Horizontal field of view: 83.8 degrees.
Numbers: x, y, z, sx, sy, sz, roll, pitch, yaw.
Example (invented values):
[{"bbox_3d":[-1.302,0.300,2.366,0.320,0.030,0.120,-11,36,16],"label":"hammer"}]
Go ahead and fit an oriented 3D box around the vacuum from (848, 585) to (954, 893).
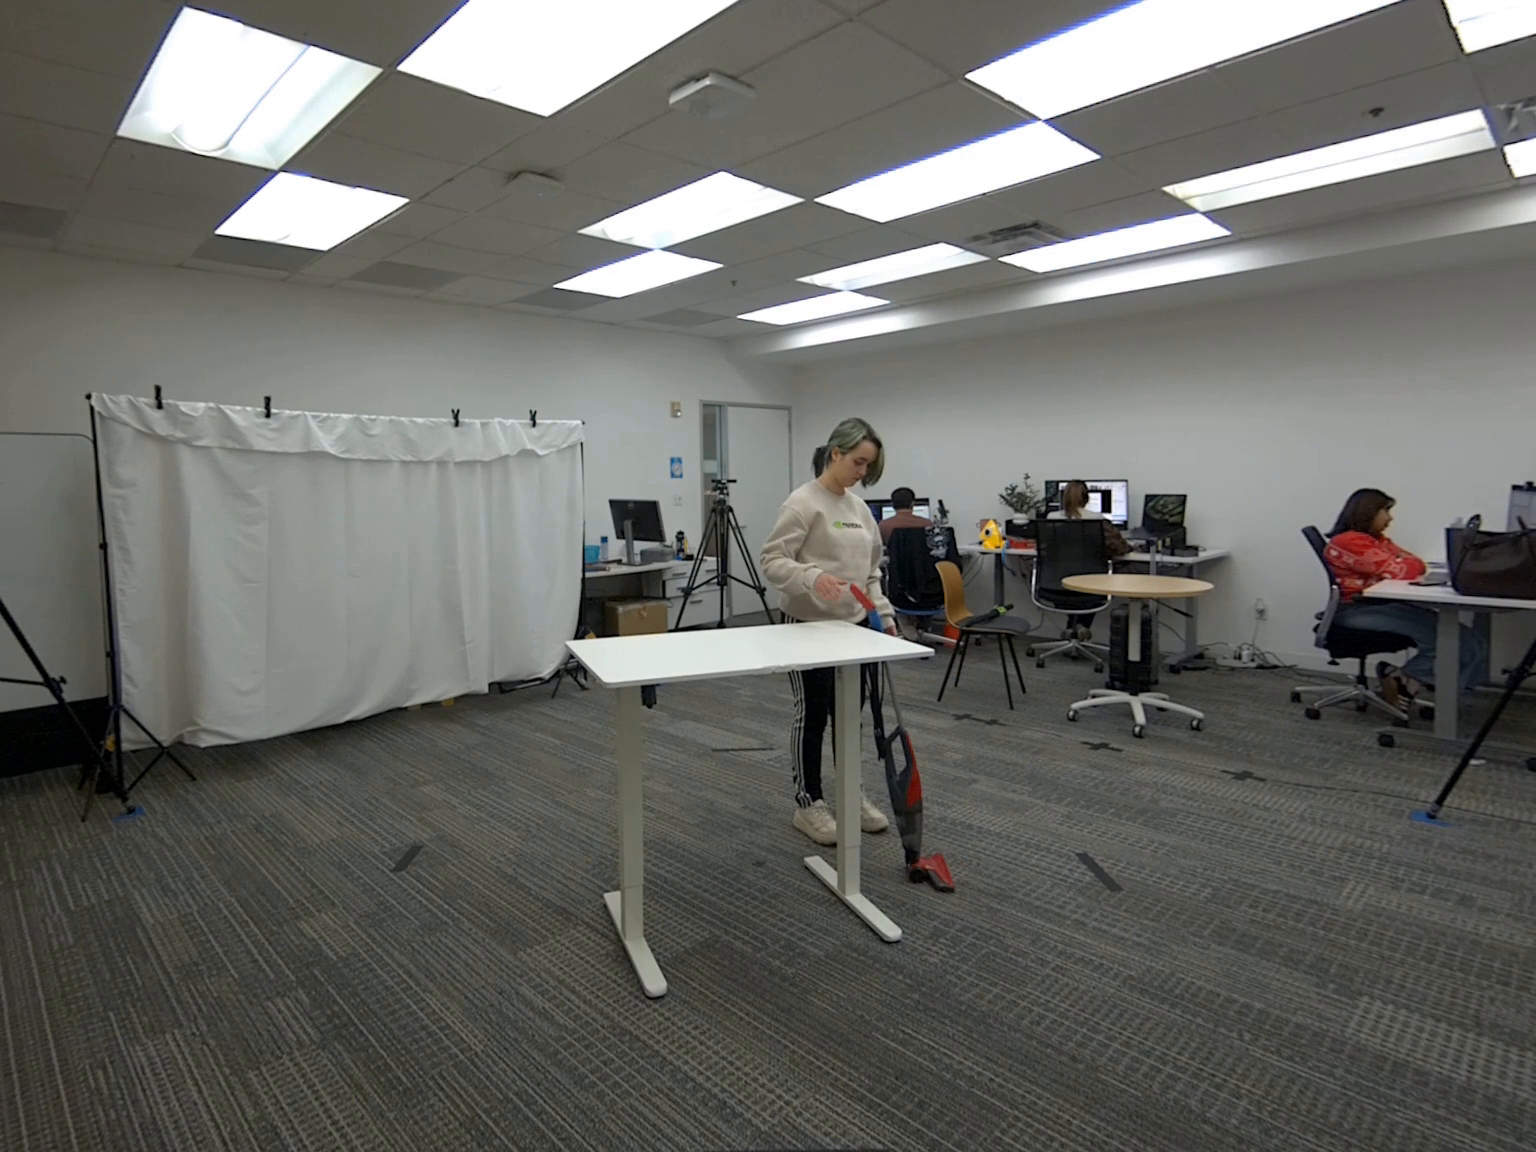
[{"bbox_3d":[0.435,0.551,2.986,0.144,1.049,0.252,-15,0,2],"label":"vacuum"}]
